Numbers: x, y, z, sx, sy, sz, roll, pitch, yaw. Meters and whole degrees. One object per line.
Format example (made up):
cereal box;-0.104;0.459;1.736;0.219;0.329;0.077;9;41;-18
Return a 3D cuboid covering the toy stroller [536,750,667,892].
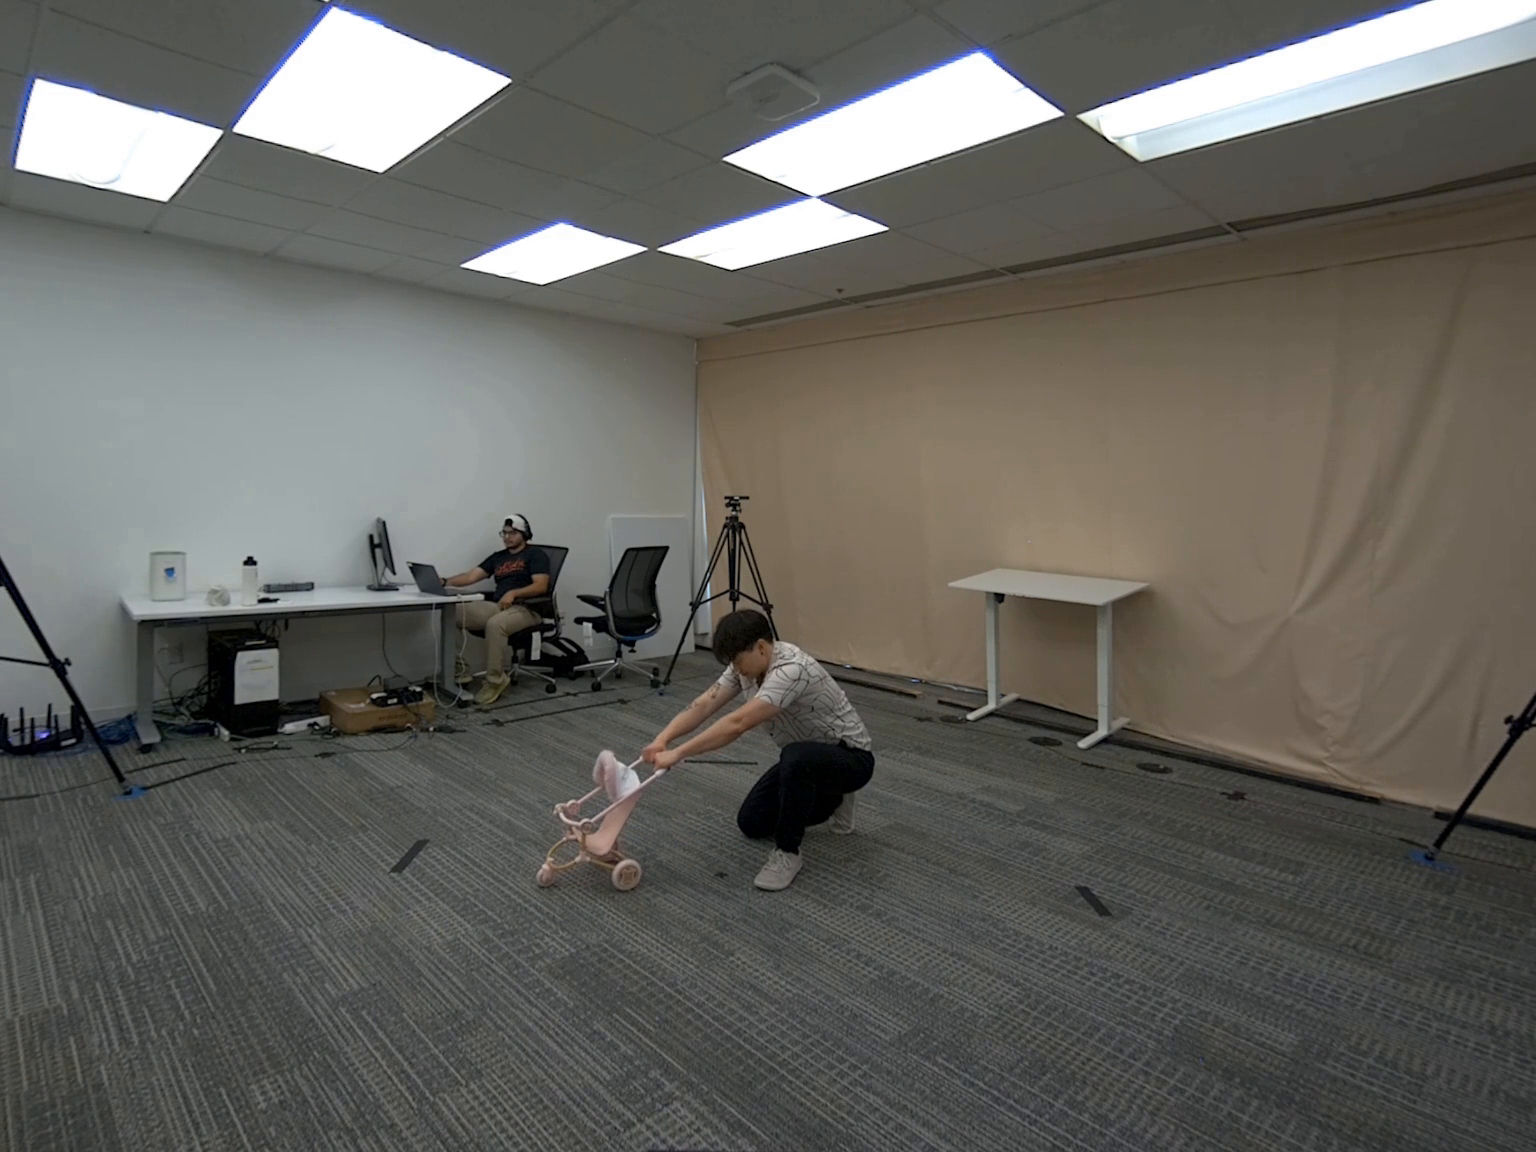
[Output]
toy stroller;-0.608;0.872;3.042;0.335;0.535;0.287;18;-3;-22
